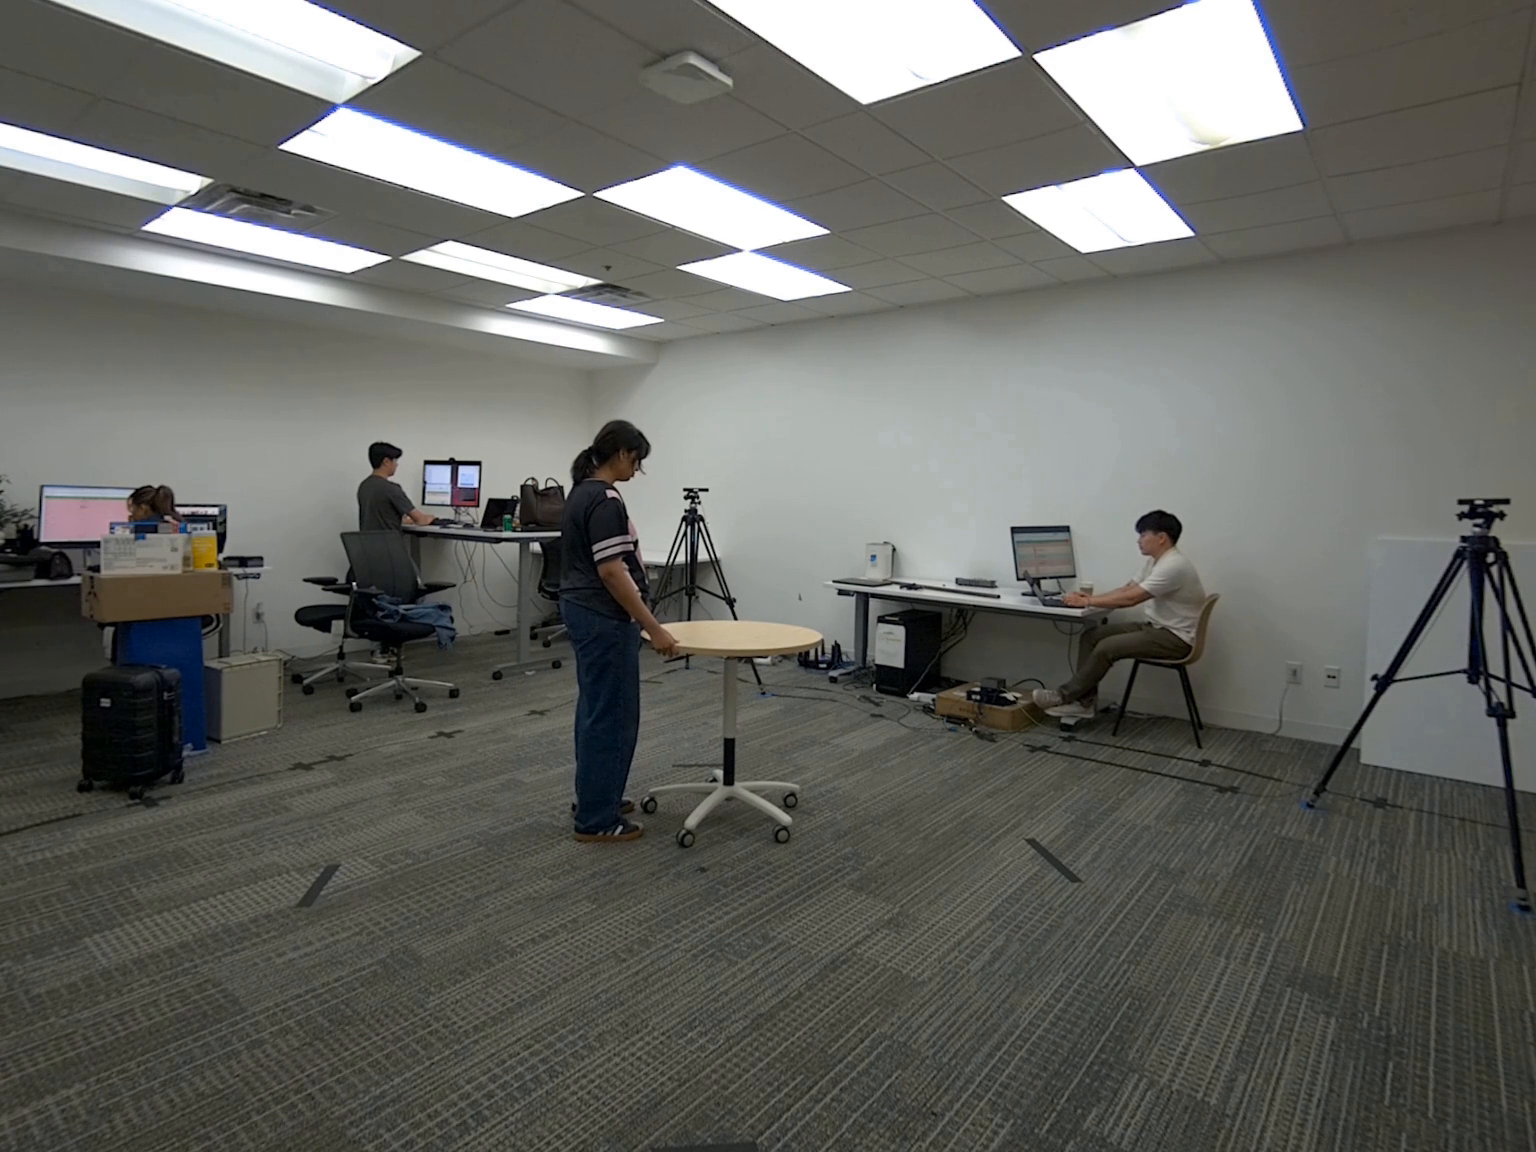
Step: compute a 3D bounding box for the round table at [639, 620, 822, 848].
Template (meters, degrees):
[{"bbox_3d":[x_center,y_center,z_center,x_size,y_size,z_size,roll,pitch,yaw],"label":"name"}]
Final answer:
[{"bbox_3d":[-0.173,0.639,3.592,0.763,0.791,0.767,1,4,-2],"label":"round table"}]
